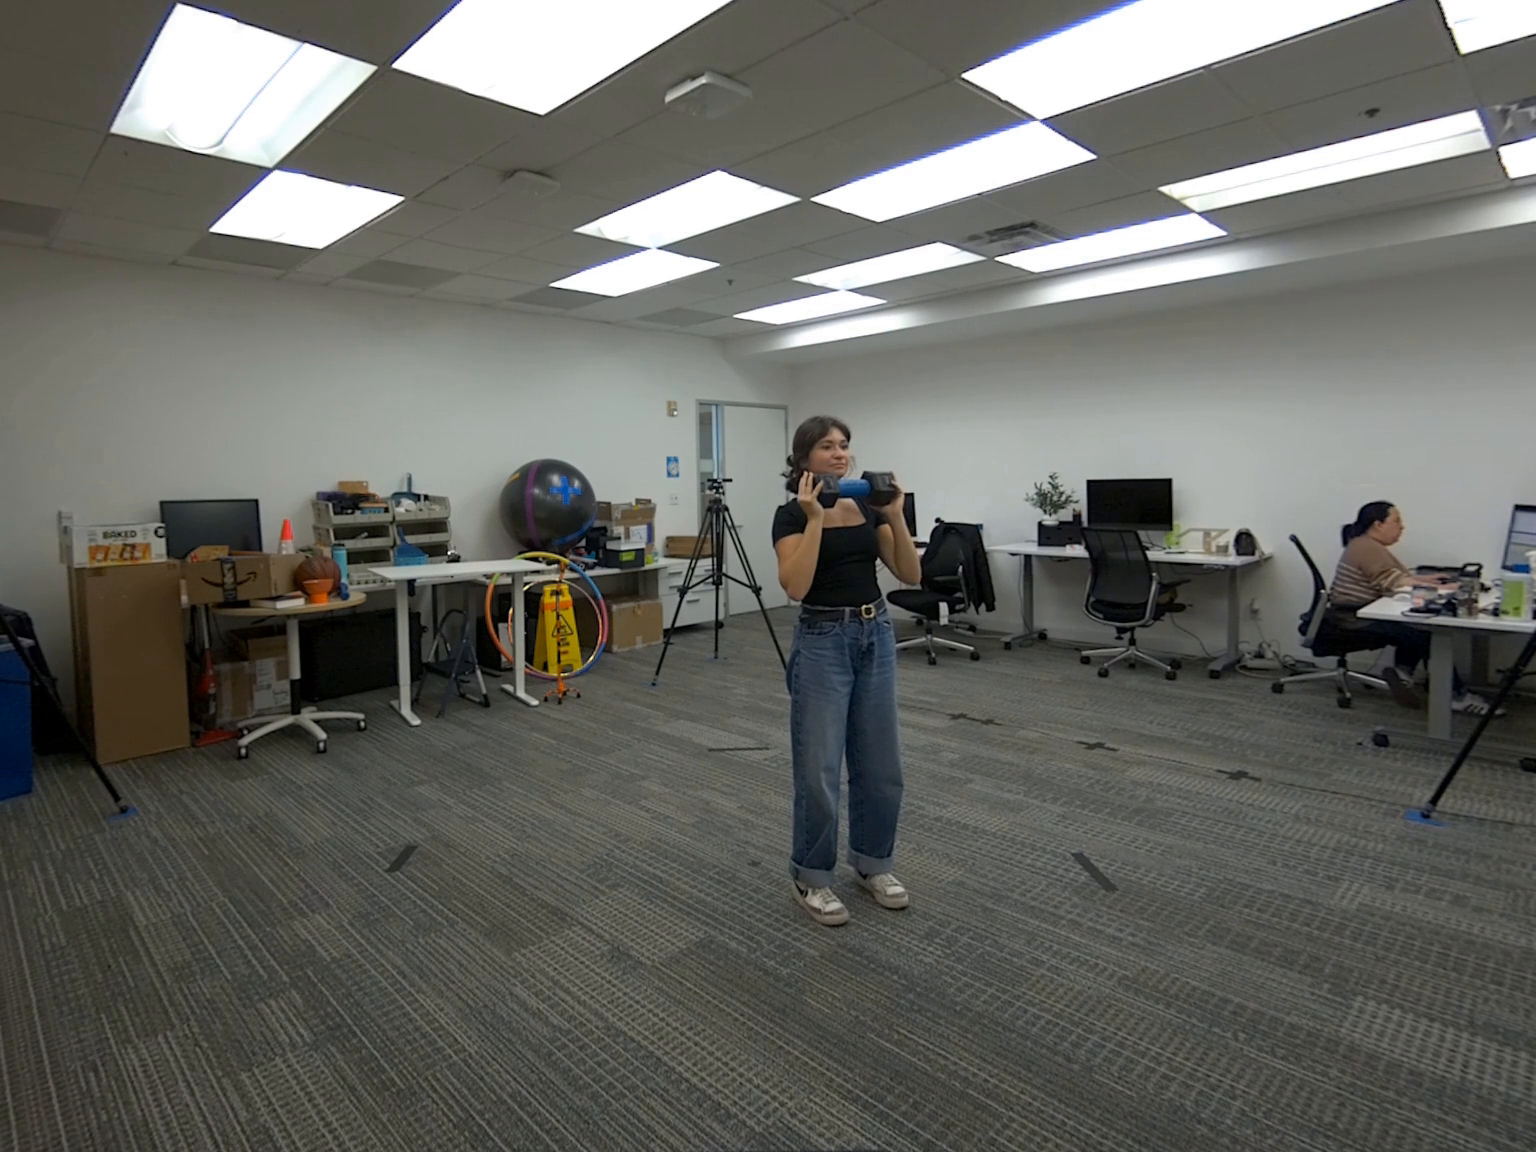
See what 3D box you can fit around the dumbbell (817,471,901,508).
[{"bbox_3d":[0.254,-0.281,2.692,0.287,0.121,0.113,-4,43,-27],"label":"dumbbell"}]
